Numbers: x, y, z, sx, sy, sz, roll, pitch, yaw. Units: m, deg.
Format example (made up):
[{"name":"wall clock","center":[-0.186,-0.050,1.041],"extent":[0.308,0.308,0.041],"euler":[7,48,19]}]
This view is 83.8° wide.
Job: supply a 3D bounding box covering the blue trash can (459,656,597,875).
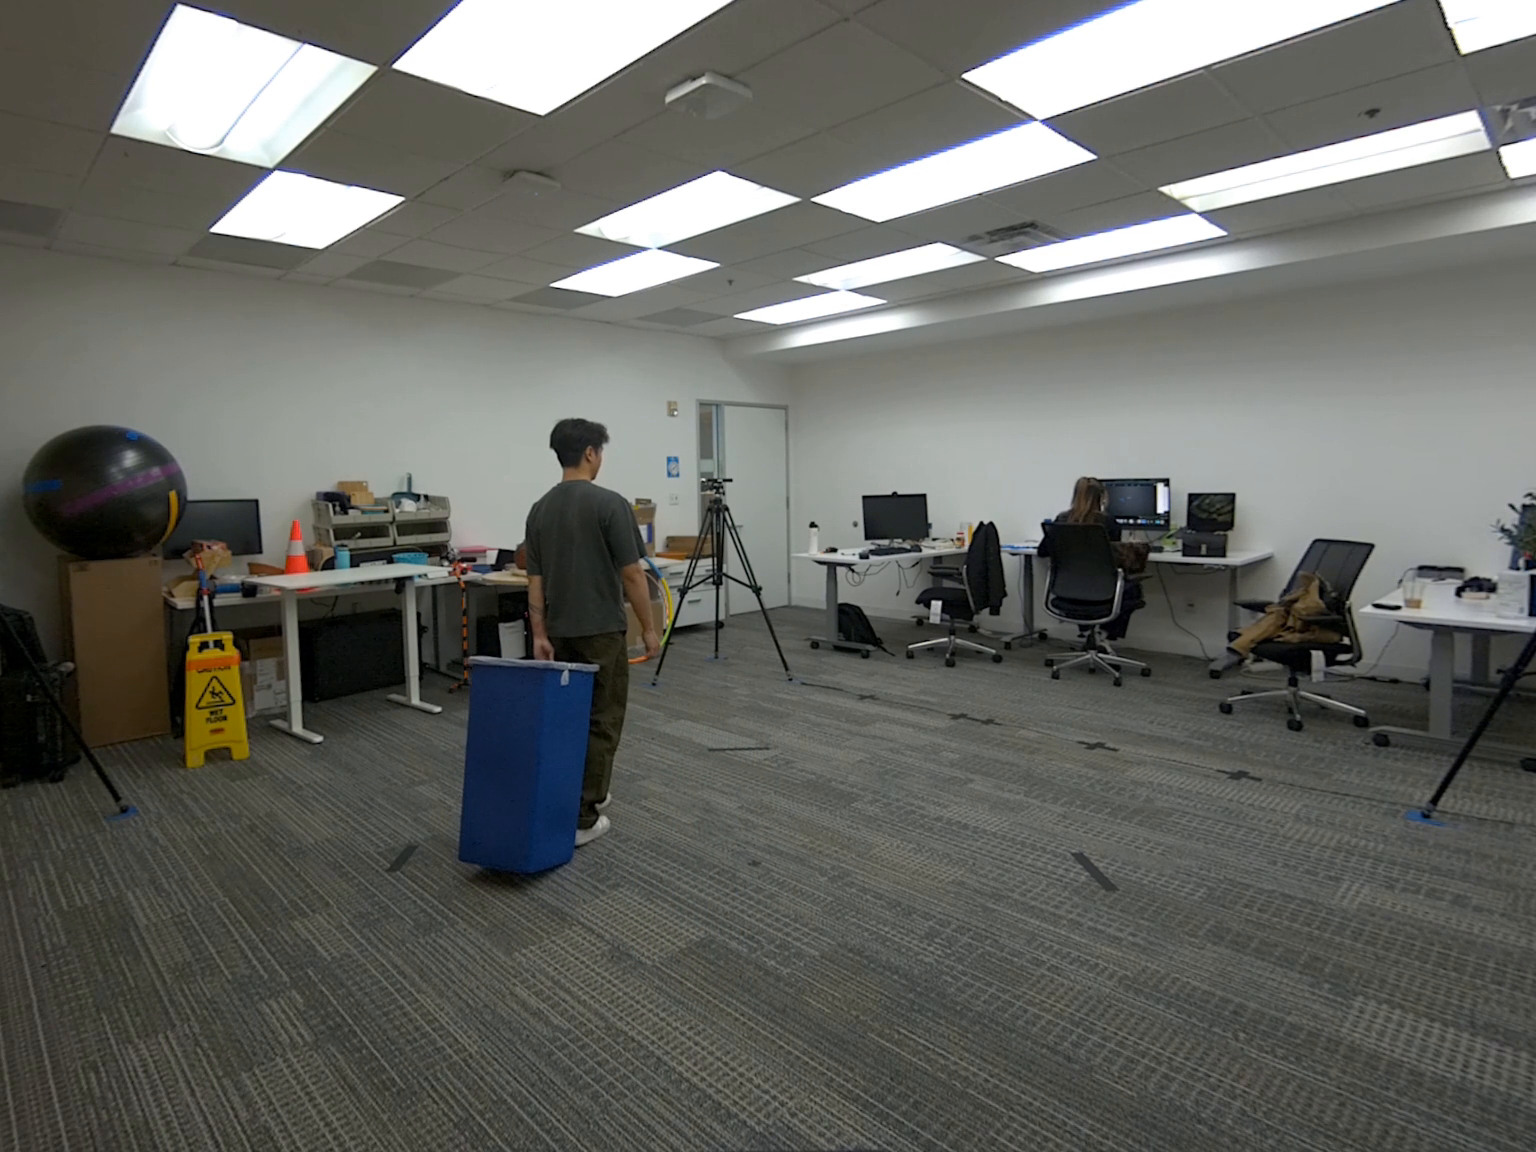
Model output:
[{"name":"blue trash can","center":[-0.898,0.675,3.149],"extent":[0.381,0.719,0.368],"euler":[0,-9,20]}]
